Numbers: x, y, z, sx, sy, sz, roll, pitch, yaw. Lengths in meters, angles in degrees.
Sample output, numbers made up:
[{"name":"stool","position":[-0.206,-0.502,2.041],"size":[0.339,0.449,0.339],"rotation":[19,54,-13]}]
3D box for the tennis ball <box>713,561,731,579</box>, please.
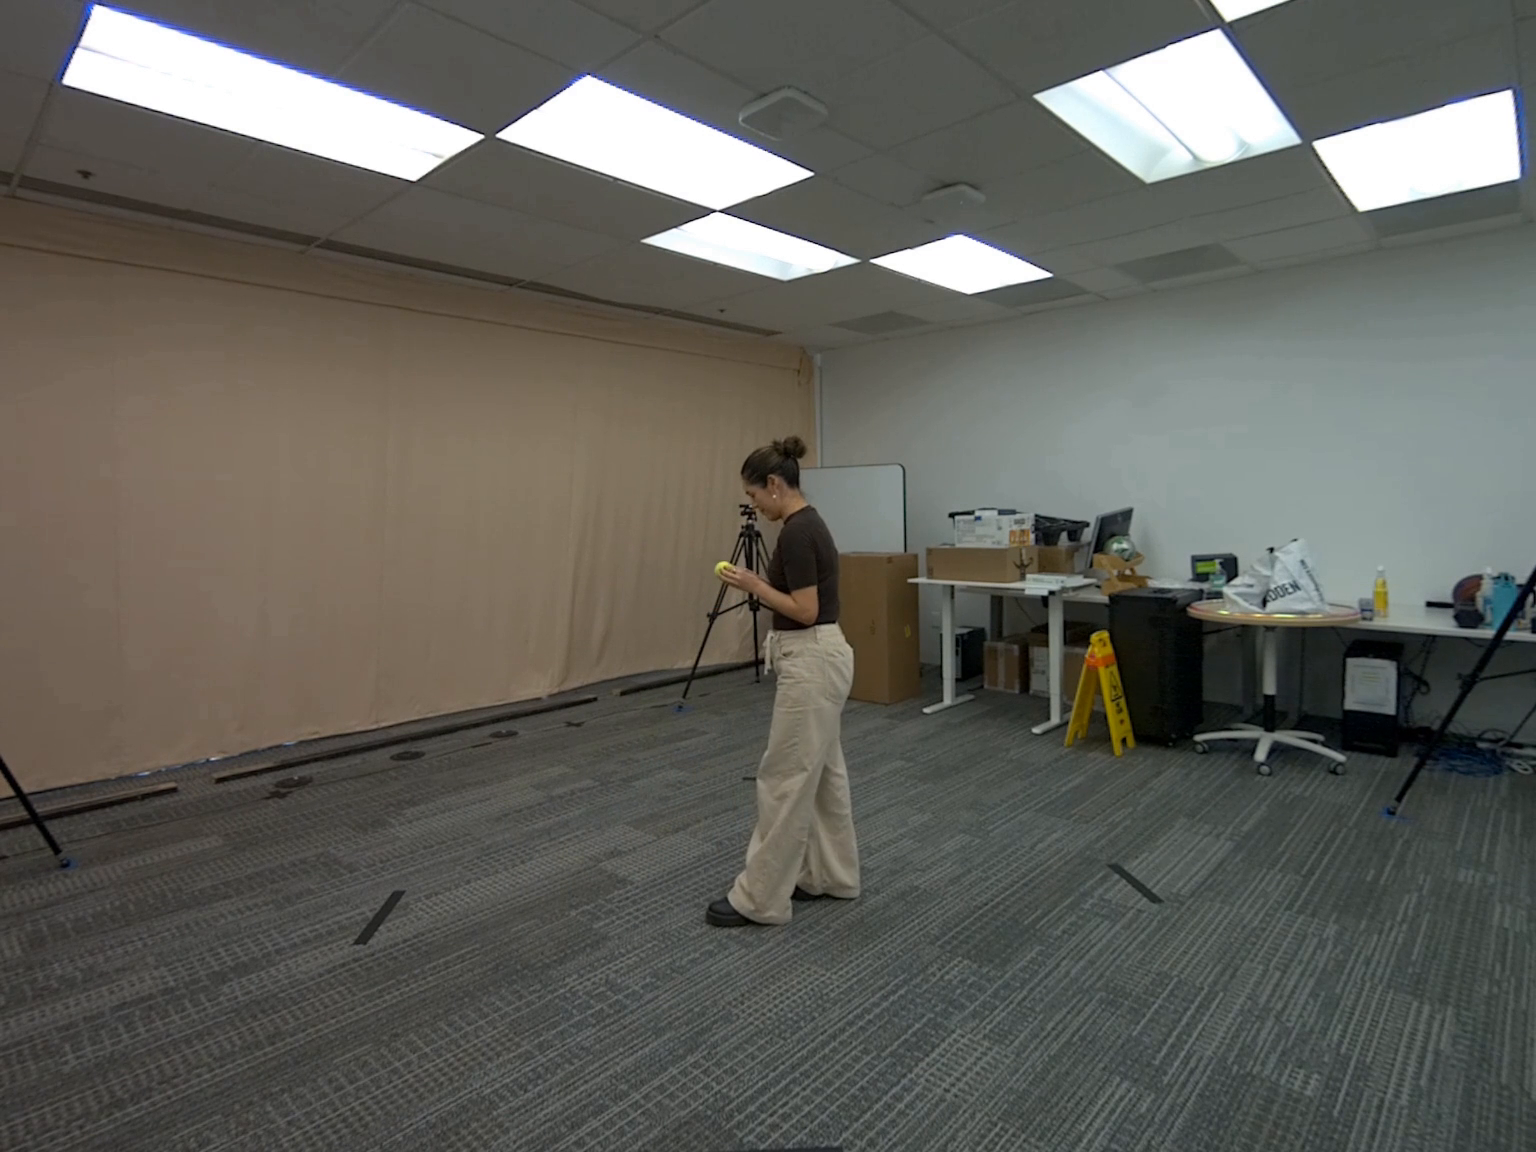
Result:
[{"name":"tennis ball","position":[-0.161,-0.023,2.911],"size":[0.066,0.066,0.067],"rotation":[-1,4,-2]}]
